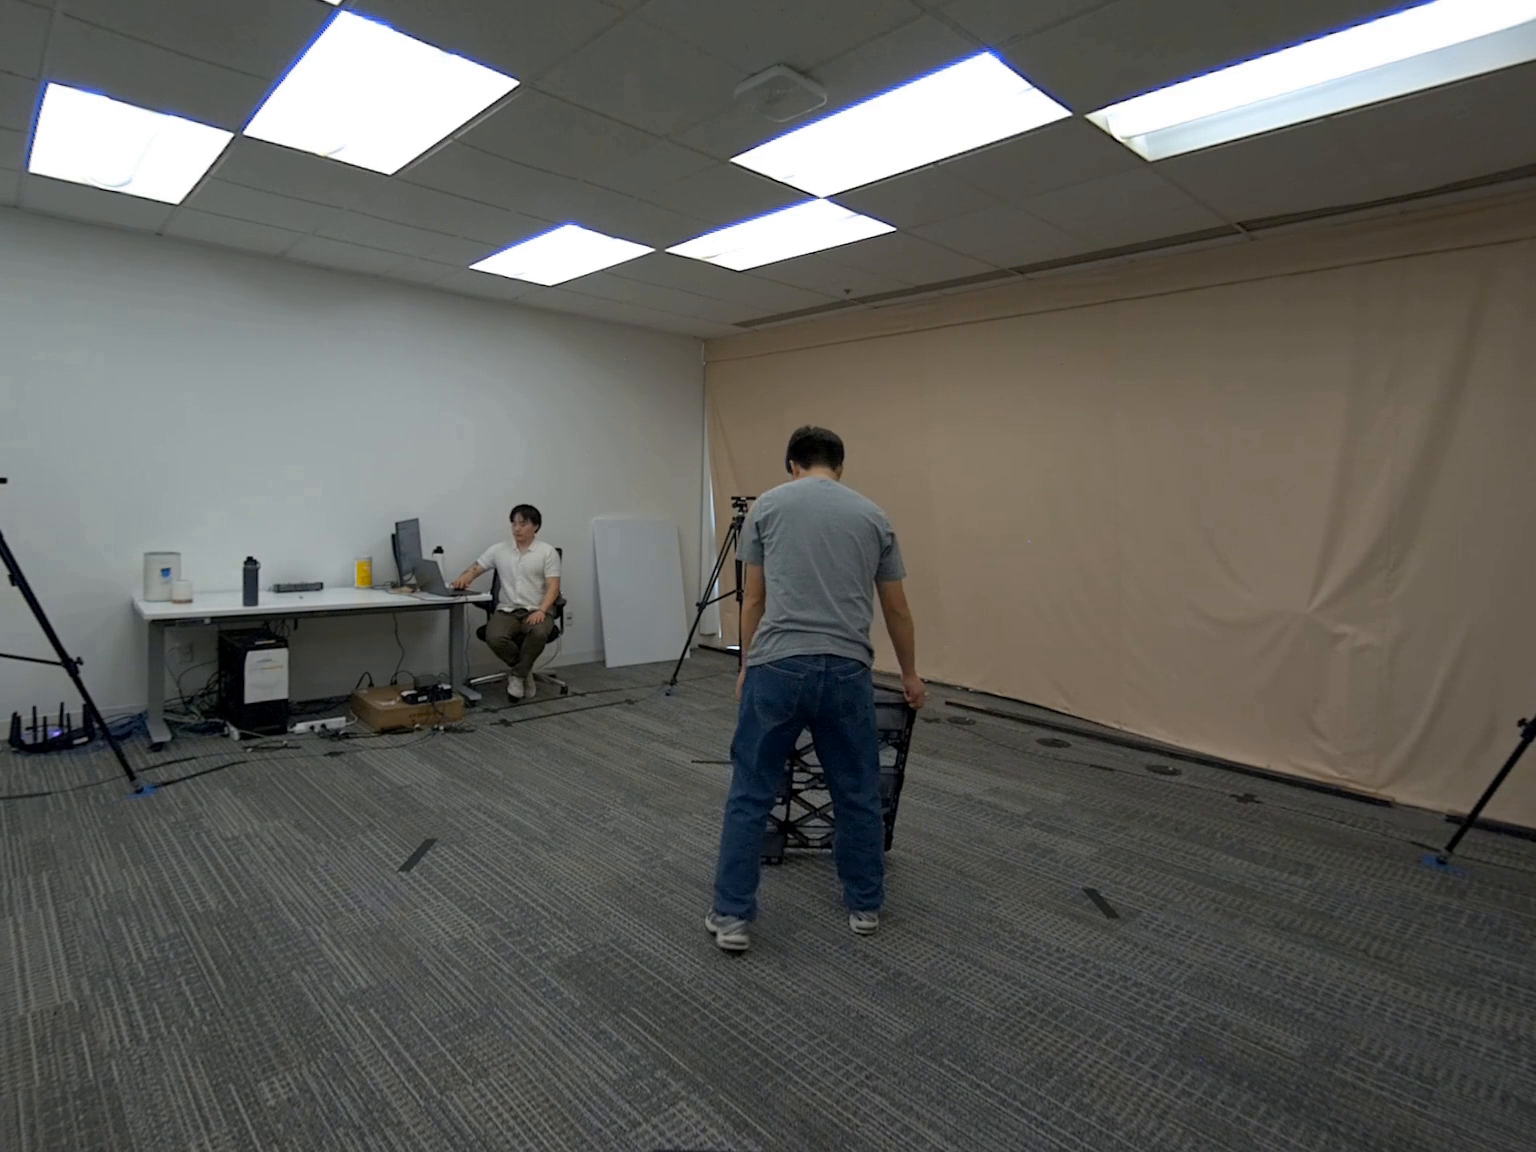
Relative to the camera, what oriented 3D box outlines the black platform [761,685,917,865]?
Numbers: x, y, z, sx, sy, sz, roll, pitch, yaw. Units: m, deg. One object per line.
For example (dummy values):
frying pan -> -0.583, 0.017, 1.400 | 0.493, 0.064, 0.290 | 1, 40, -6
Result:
black platform -> 0.191, 0.770, 3.060 | 0.606, 0.790, 0.146 | 2, 33, 1
